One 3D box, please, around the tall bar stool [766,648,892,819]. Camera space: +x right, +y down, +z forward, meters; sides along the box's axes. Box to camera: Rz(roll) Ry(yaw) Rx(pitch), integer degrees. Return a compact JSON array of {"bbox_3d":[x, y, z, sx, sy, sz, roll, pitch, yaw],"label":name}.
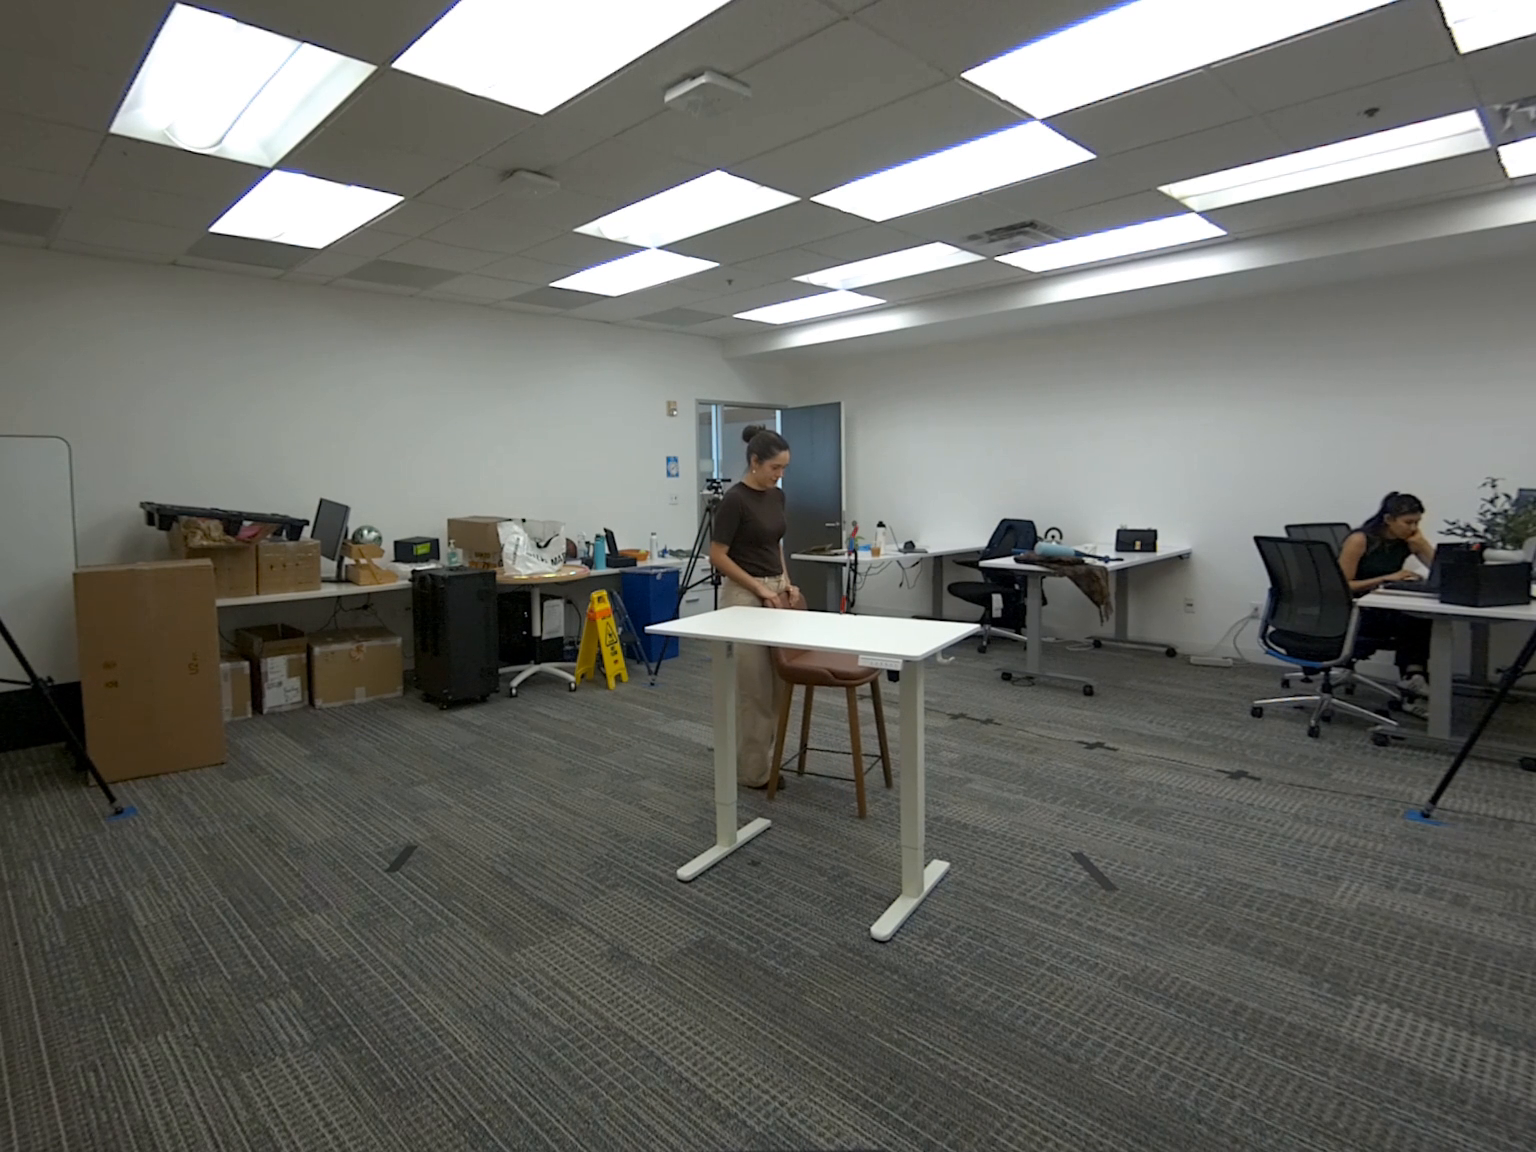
[{"bbox_3d":[0.257,0.529,3.754,0.479,0.888,0.447,-1,3,27],"label":"tall bar stool"}]
